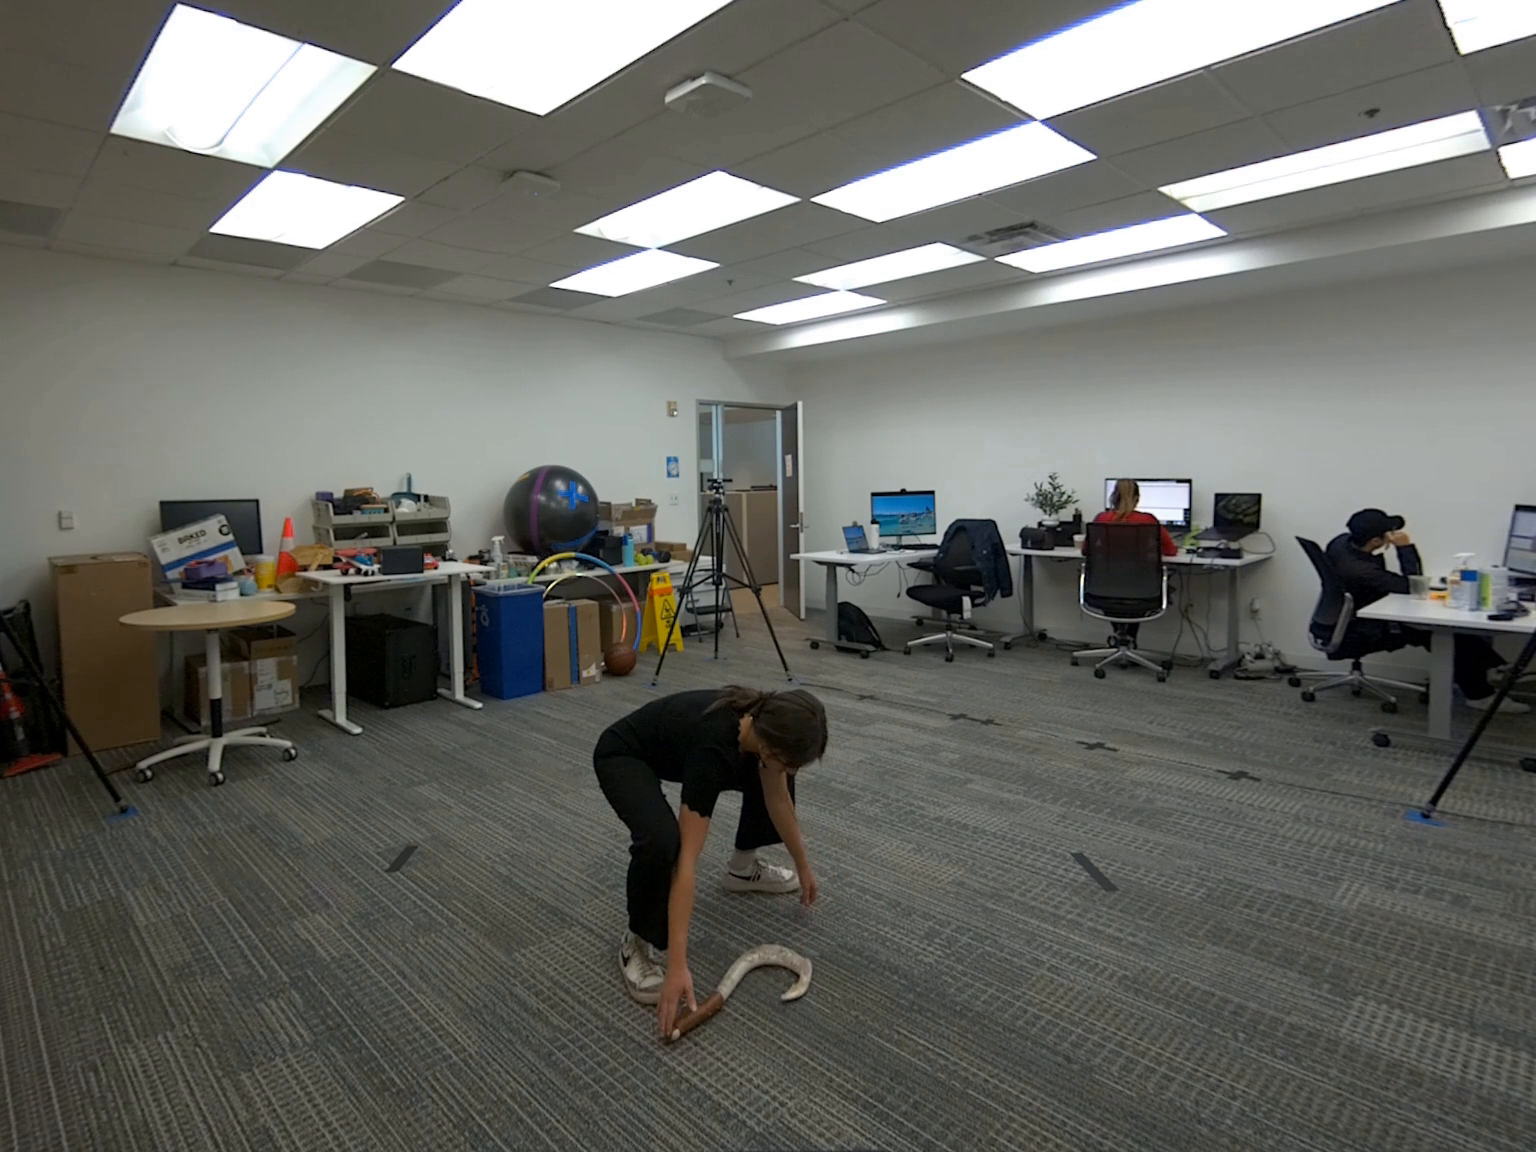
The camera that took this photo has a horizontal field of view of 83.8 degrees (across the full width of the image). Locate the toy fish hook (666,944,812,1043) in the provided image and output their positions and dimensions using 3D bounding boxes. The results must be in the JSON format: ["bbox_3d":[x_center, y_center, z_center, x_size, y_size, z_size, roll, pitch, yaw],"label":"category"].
[{"bbox_3d":[-0.050,1.118,2.285,0.231,0.048,0.494,1,7,37],"label":"toy fish hook"}]
